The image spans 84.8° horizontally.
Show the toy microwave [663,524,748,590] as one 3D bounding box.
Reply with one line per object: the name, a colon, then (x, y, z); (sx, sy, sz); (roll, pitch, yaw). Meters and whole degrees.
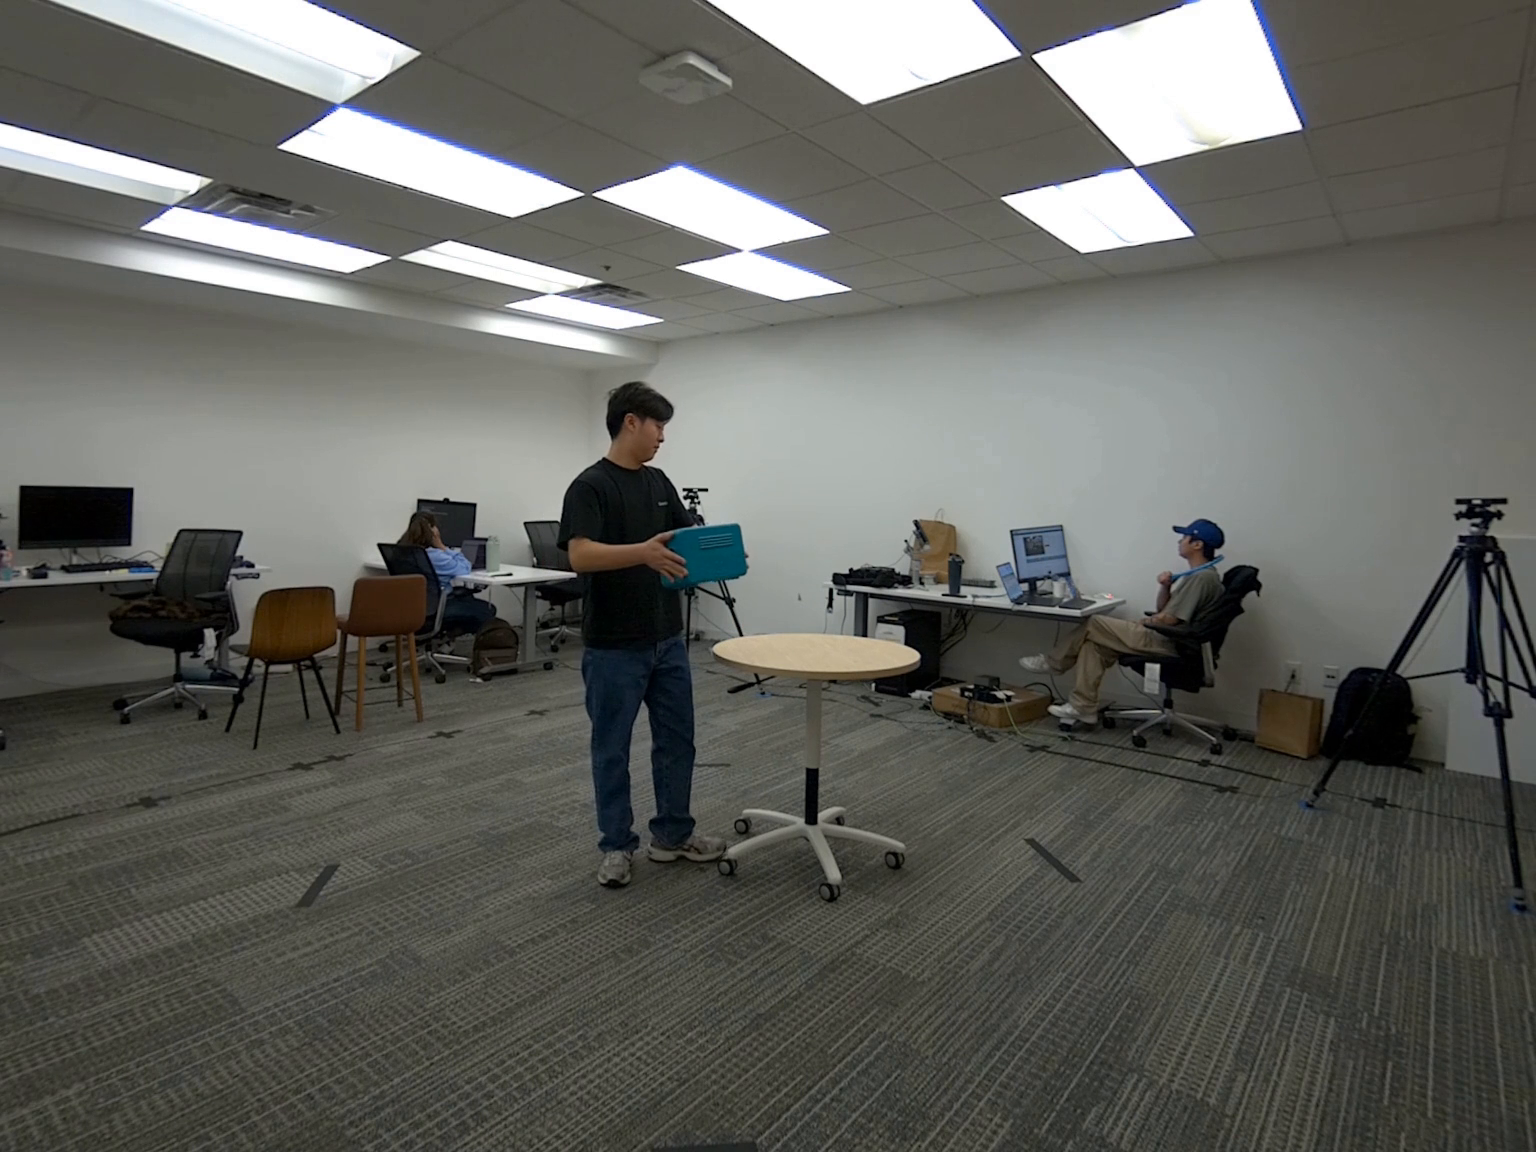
toy microwave: (-0.227, -0.066, 2.751); (0.156, 0.184, 0.278); (-10, 0, 45)
